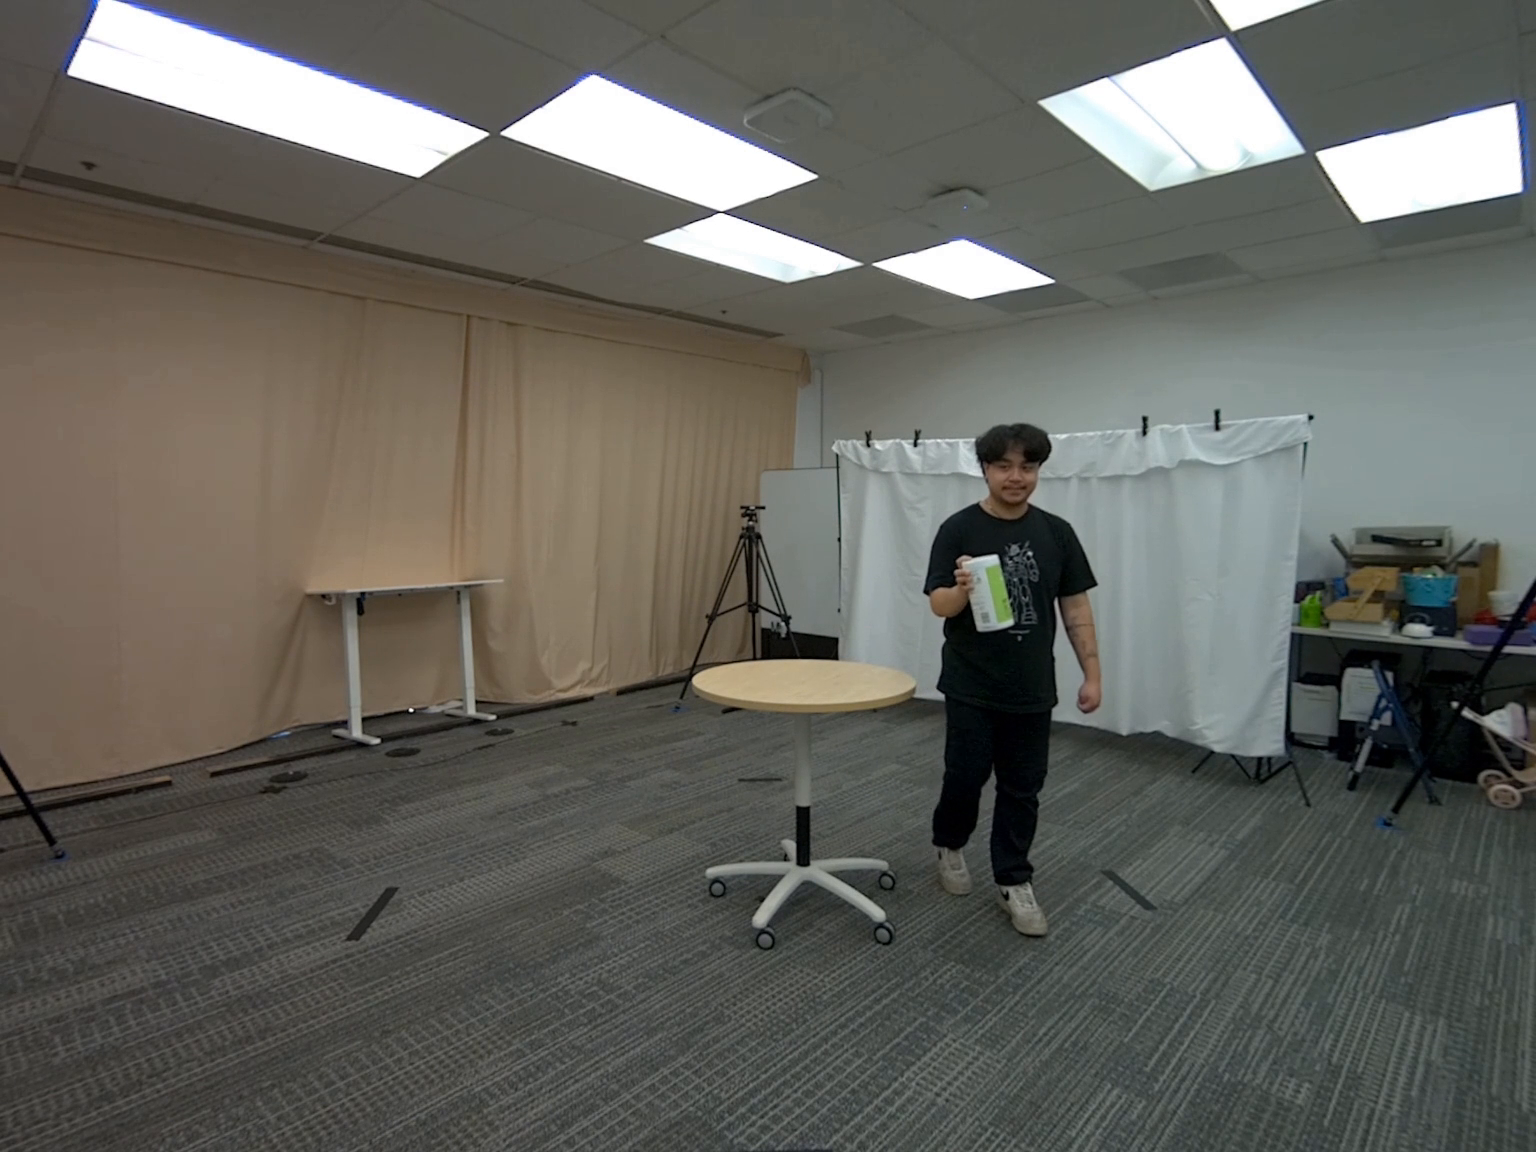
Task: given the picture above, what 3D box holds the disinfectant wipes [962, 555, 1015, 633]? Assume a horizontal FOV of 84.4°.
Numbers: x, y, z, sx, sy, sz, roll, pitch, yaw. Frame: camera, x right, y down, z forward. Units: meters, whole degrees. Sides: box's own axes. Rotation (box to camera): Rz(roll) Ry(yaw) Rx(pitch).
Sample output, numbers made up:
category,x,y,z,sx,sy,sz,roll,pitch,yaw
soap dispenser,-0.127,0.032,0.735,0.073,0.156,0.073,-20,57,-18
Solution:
category,x,y,z,sx,sy,sz,roll,pitch,yaw
disinfectant wipes,0.657,0.052,2.513,0.117,0.217,0.118,-12,0,-2
